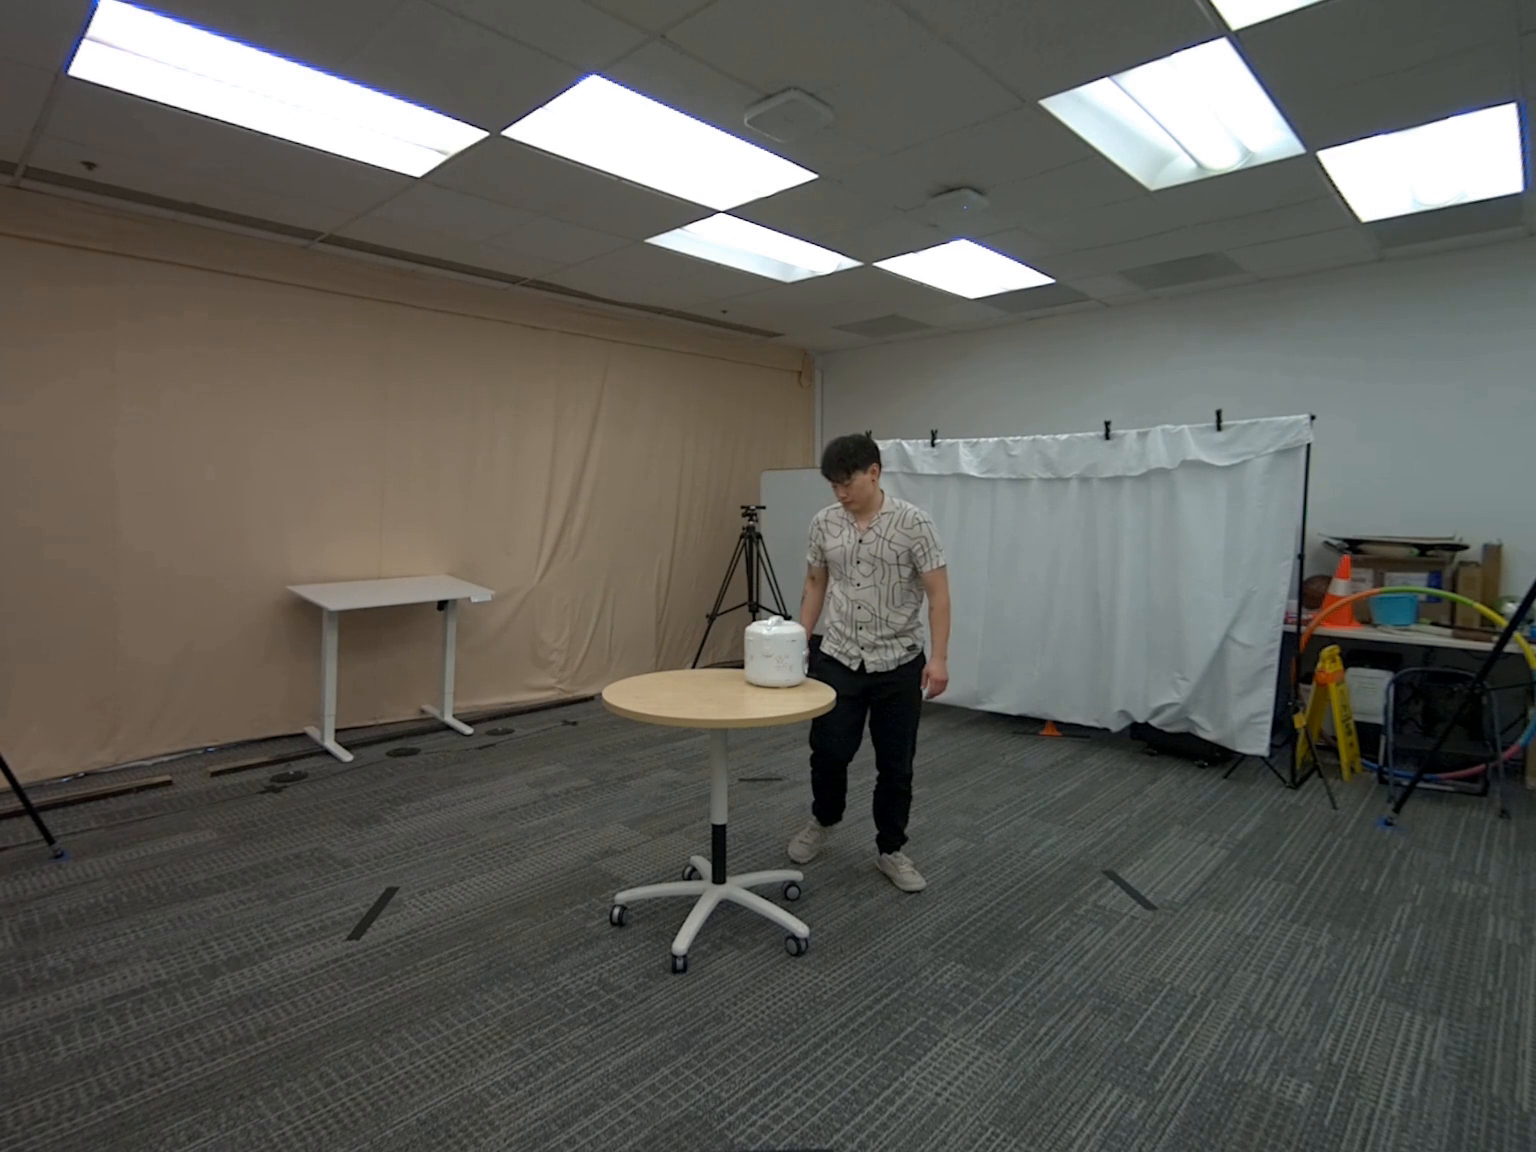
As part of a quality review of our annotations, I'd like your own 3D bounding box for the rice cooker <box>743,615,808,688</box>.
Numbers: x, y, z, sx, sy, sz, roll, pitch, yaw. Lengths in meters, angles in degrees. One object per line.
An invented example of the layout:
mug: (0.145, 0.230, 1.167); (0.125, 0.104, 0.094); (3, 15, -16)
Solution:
rice cooker: (0.025, 0.253, 2.894); (0.221, 0.232, 0.217); (0, 3, 17)
